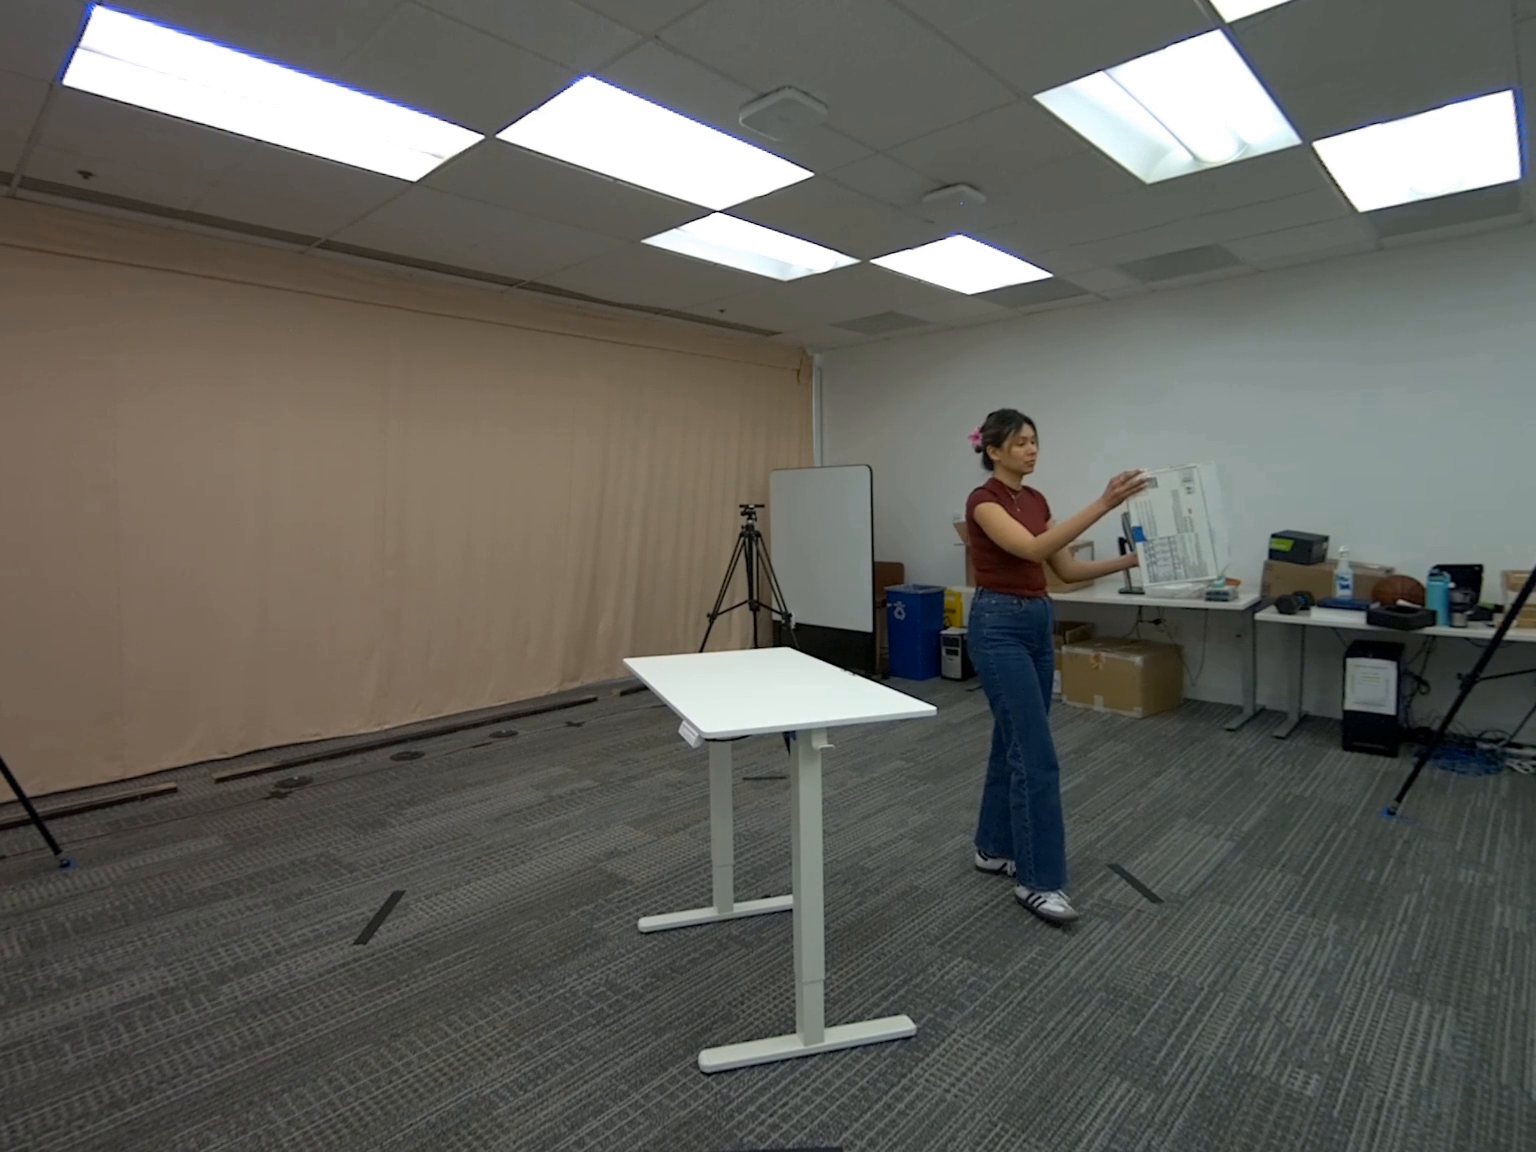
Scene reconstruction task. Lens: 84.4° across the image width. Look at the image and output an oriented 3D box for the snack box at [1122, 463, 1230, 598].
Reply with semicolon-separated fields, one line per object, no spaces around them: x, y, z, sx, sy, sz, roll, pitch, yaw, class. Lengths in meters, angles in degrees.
1.303;-0.168;2.640;0.211;0.340;0.394;-11;1;35;snack box
